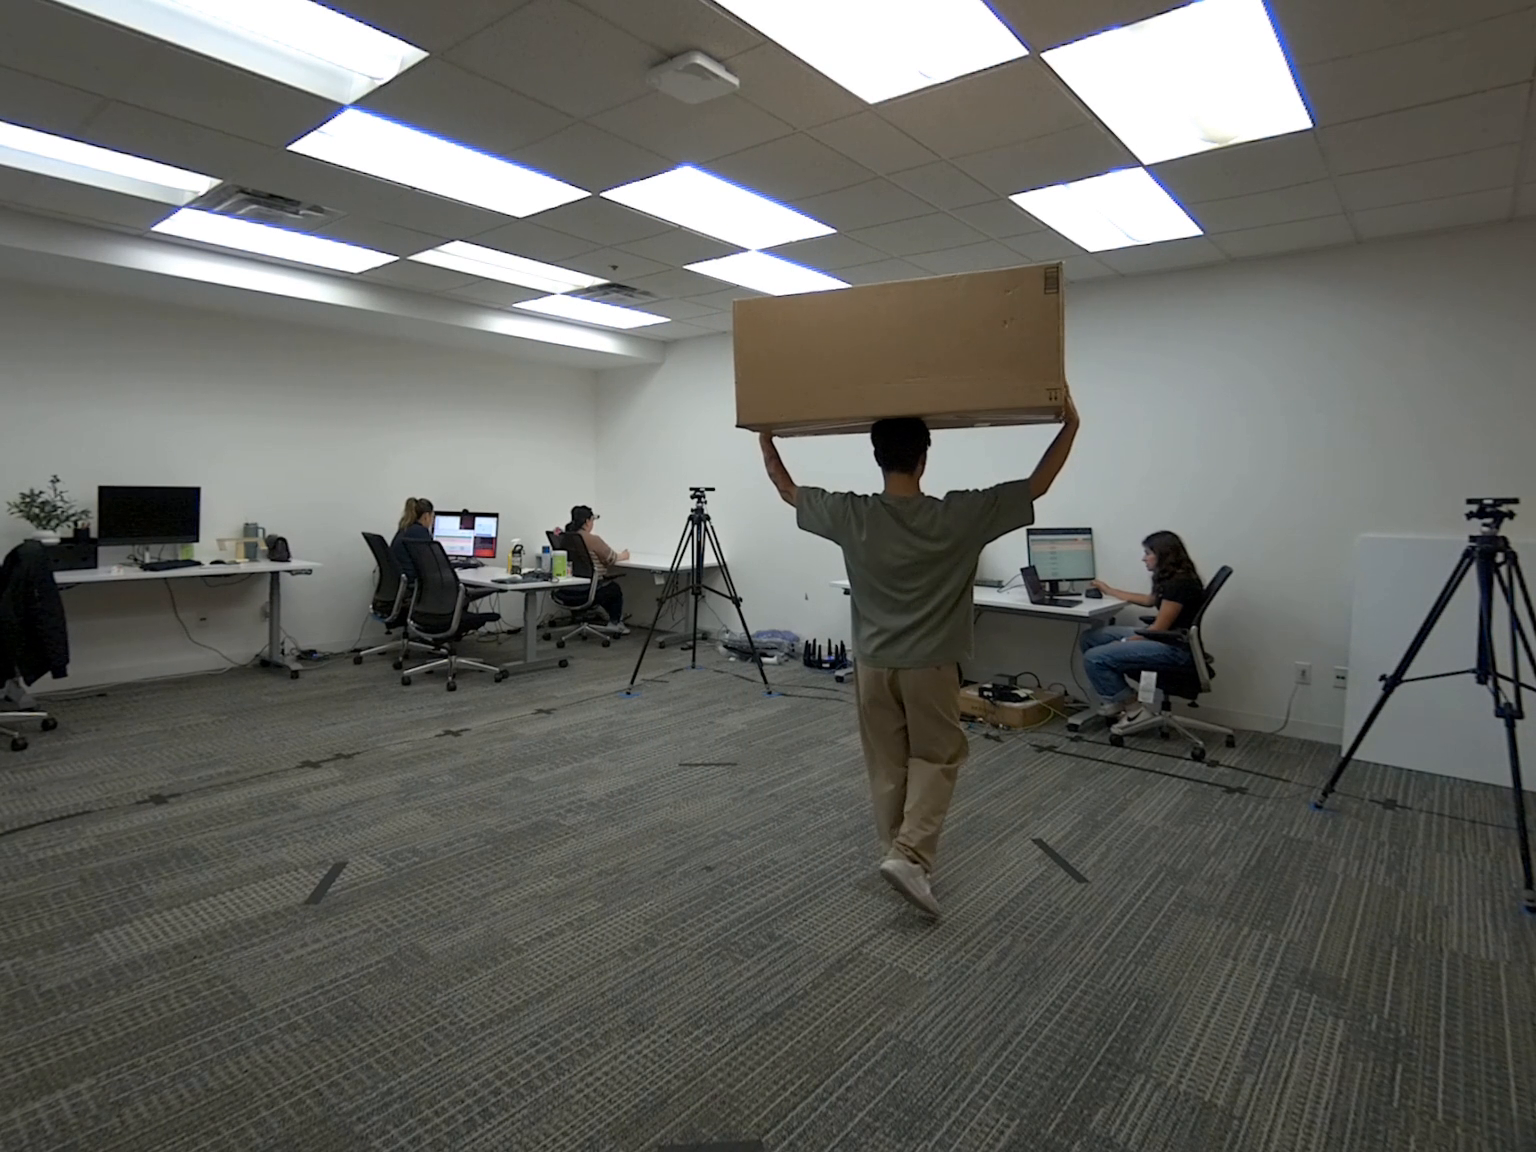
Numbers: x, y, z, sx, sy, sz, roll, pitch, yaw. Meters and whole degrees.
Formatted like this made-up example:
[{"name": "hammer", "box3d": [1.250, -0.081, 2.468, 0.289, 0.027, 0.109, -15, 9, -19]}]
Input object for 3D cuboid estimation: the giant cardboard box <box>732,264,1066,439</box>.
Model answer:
[{"name": "giant cardboard box", "box3d": [0.450, -0.727, 2.905, 1.048, 0.425, 0.567, 1, 4, 21]}]
